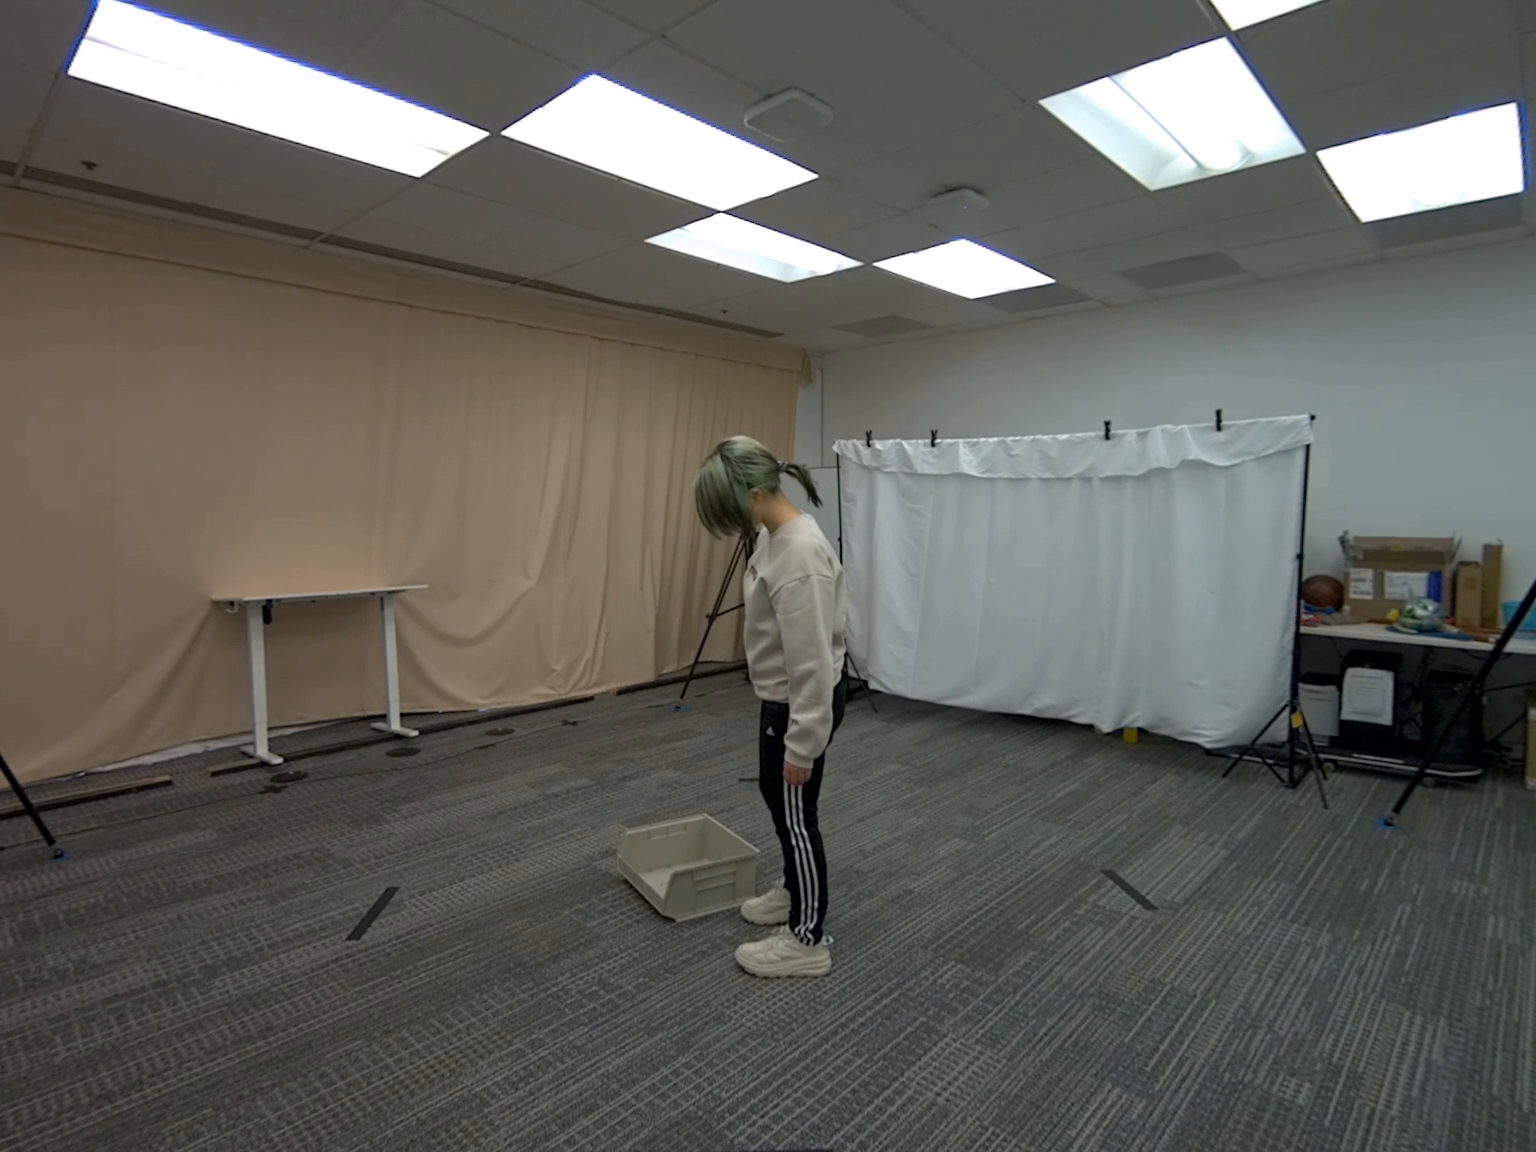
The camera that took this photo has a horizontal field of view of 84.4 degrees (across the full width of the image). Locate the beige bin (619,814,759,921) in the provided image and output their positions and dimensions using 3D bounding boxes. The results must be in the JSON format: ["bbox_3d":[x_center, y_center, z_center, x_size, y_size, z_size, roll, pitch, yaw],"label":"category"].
[{"bbox_3d":[-0.295,1.052,3.053,0.367,0.188,0.435,-2,4,-30],"label":"beige bin"}]
